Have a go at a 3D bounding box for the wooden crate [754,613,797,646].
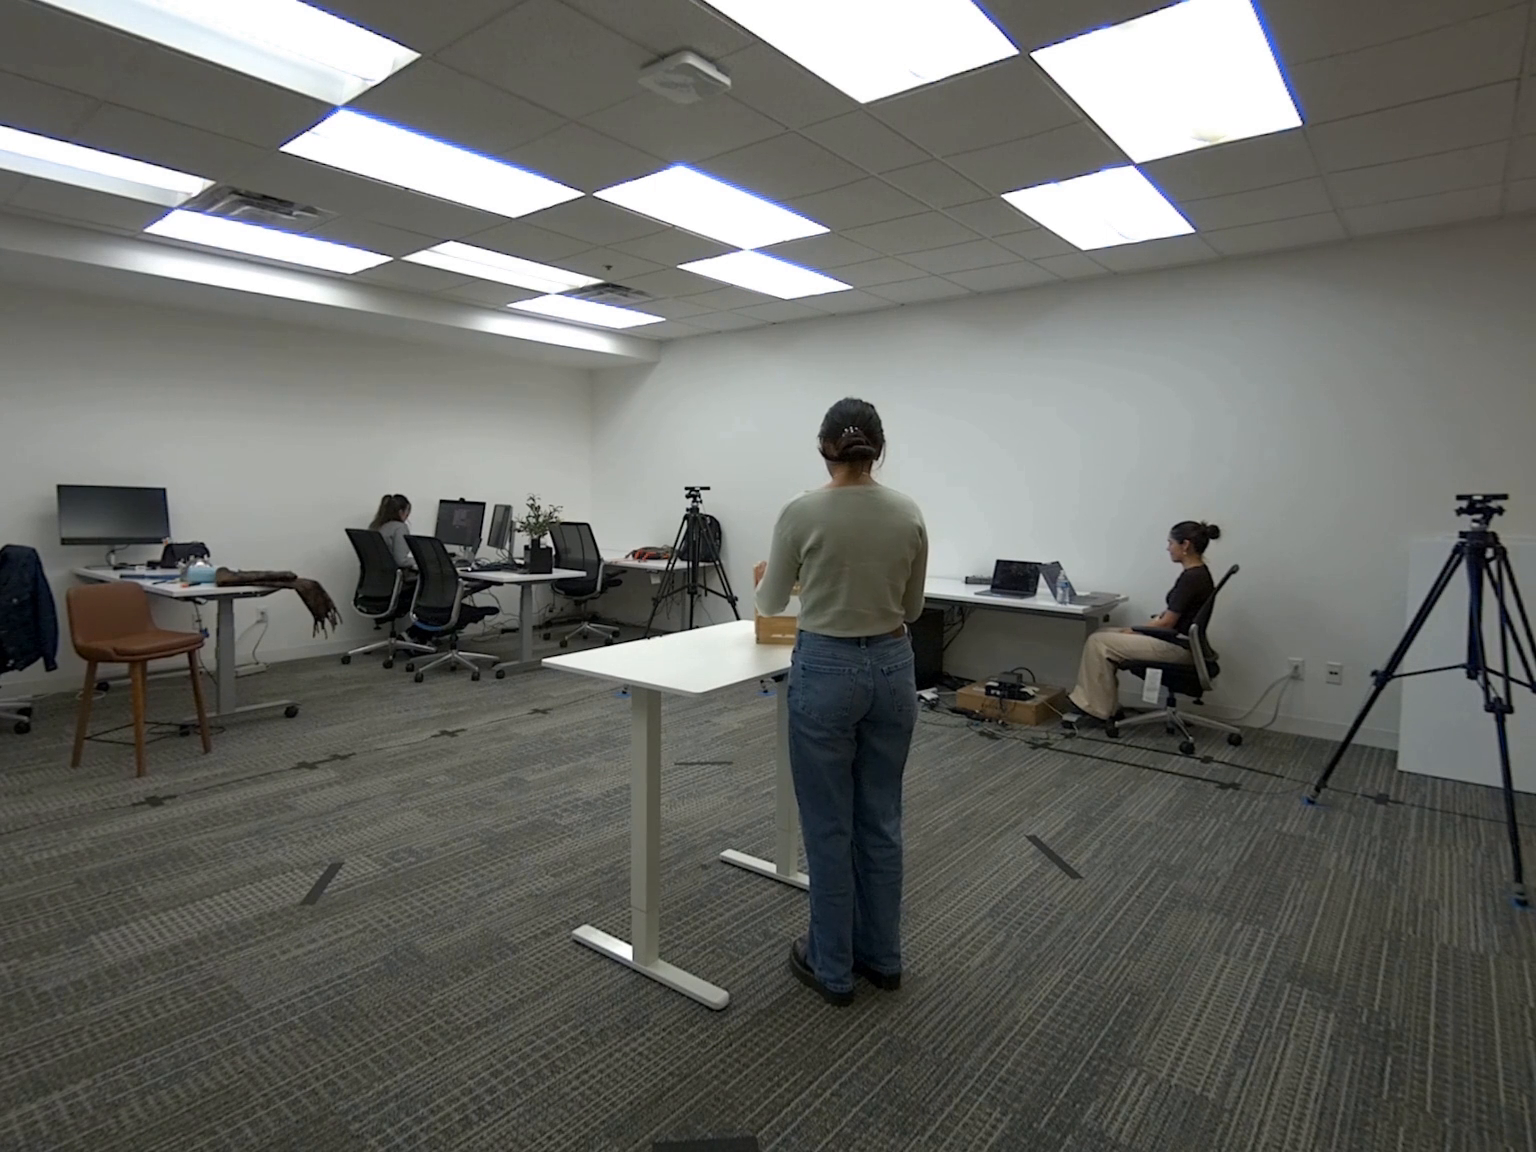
[{"bbox_3d":[0.113,0.079,2.845,0.326,0.272,0.301,2,5,5],"label":"wooden crate"}]
